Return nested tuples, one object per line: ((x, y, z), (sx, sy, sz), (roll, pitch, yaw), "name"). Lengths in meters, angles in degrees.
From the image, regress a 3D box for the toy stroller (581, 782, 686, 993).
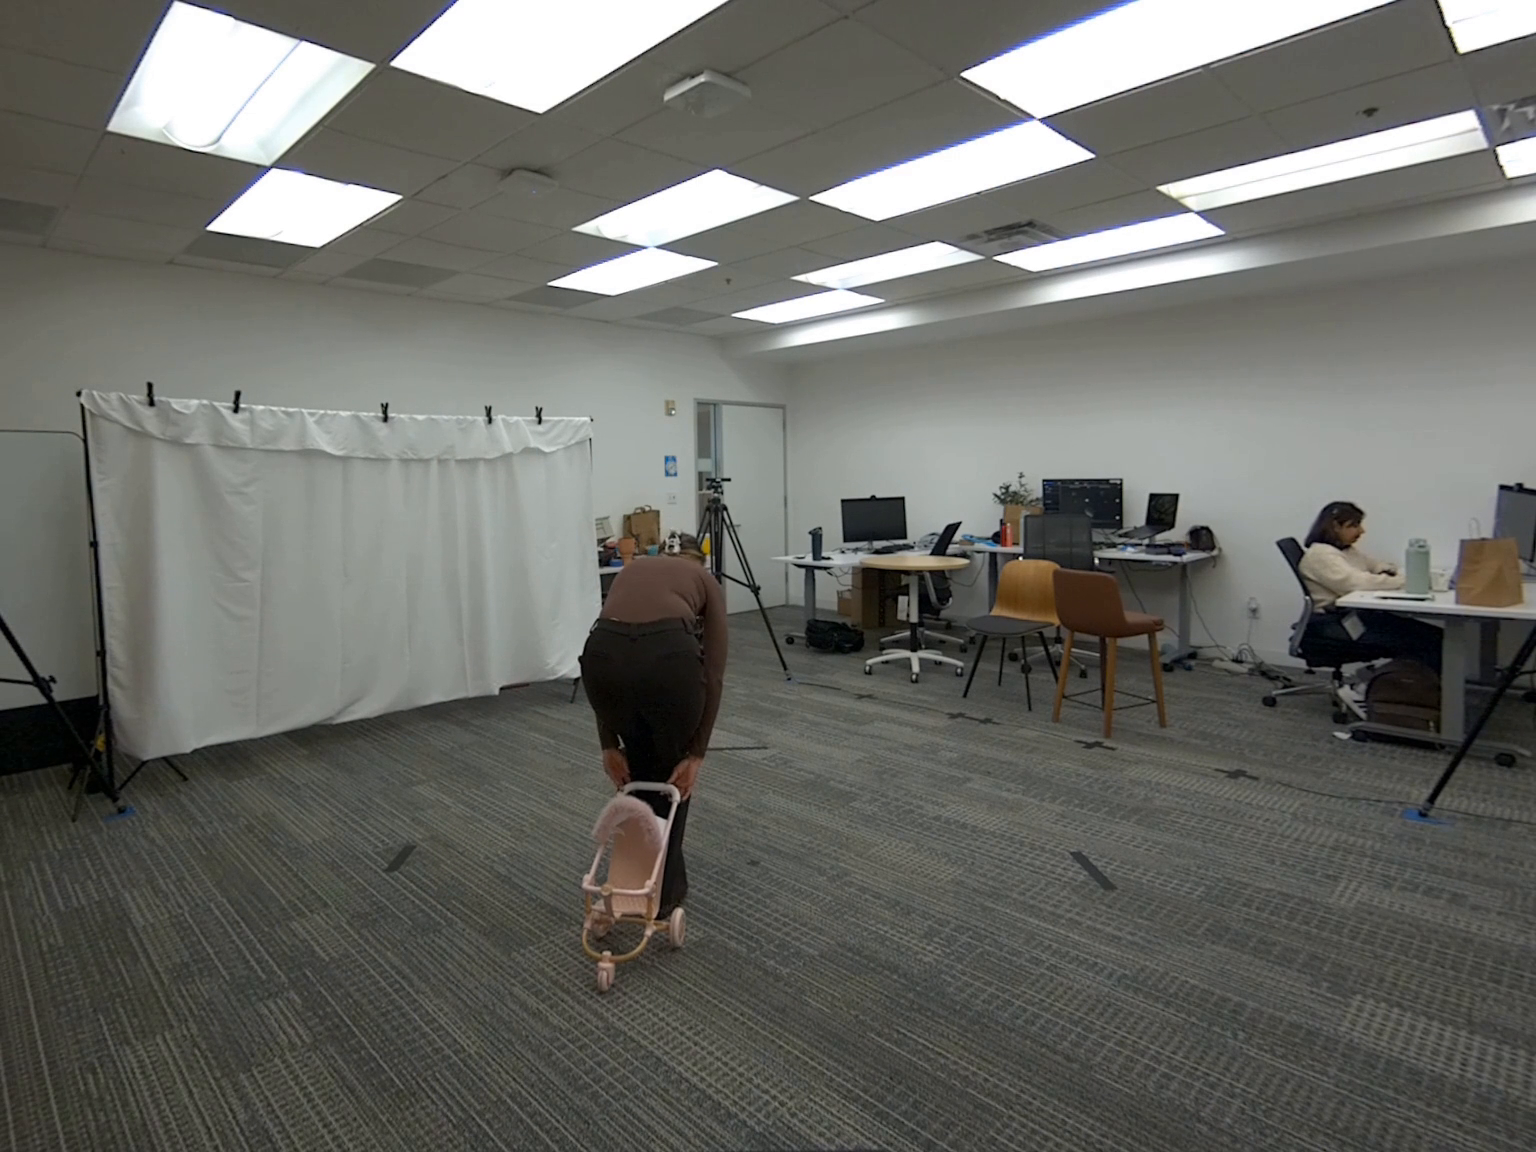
((-0.415, 0.899, 2.521), (0.286, 0.540, 0.332), (-1, -11, 17), "toy stroller")
